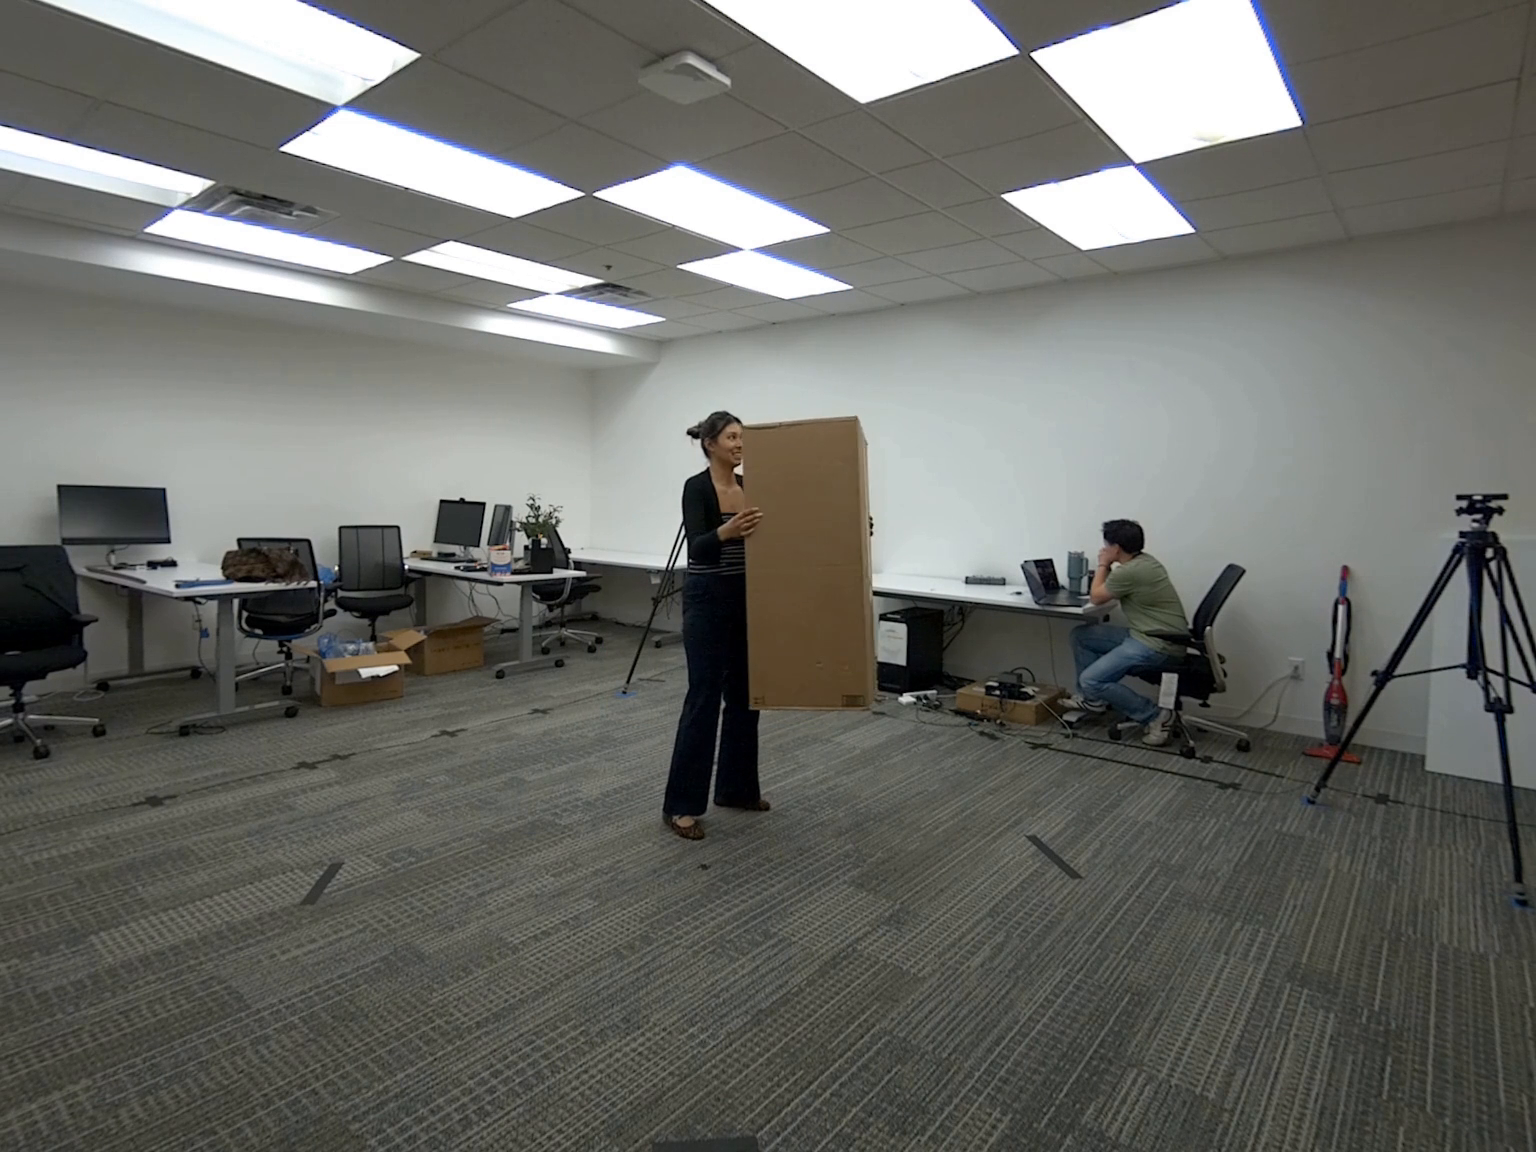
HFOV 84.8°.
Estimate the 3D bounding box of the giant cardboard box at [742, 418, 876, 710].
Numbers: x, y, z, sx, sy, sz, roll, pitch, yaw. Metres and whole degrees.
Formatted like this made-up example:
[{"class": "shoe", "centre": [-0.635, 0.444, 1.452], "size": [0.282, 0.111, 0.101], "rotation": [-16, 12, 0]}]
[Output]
[{"class": "giant cardboard box", "centre": [0.161, -0.041, 3.272], "size": [0.432, 1.030, 0.568], "rotation": [-2, -4, 12]}]
